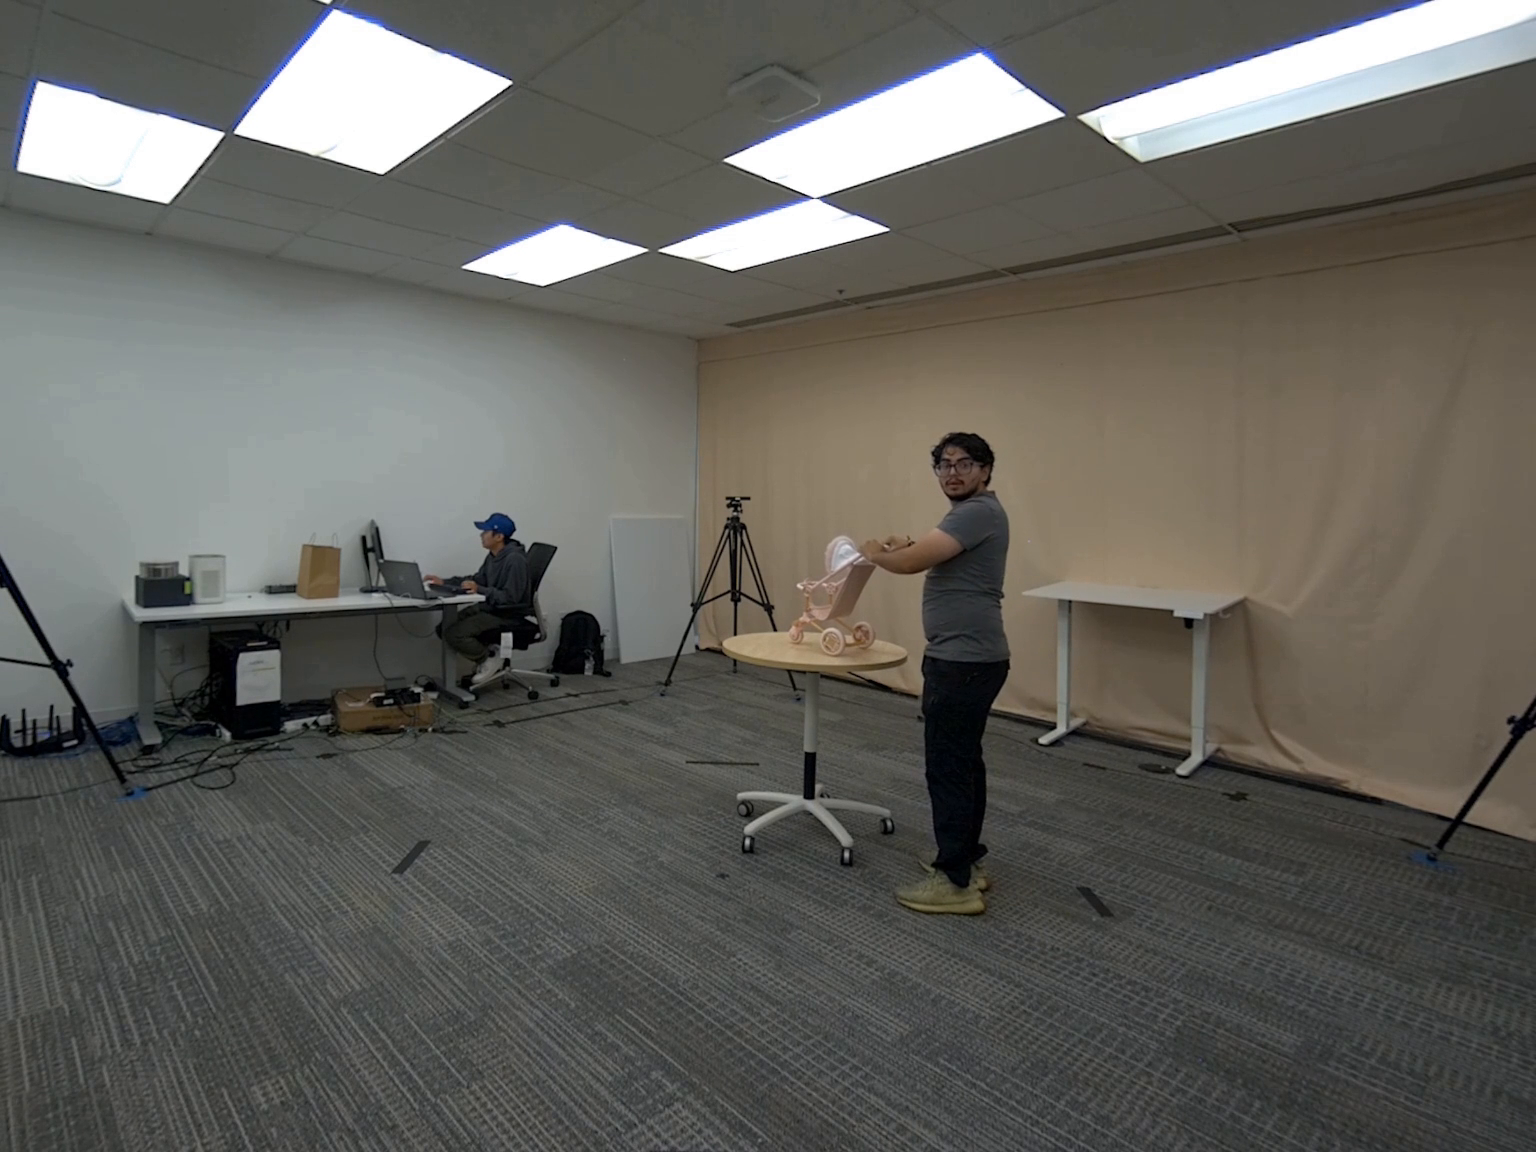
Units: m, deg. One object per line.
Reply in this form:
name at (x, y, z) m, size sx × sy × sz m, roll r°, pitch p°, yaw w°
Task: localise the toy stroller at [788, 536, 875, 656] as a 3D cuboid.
toy stroller at (0.277, 0.078, 3.453) m, size 0.351 × 0.531 × 0.275 m, roll 24°, pitch 16°, yaw 38°
